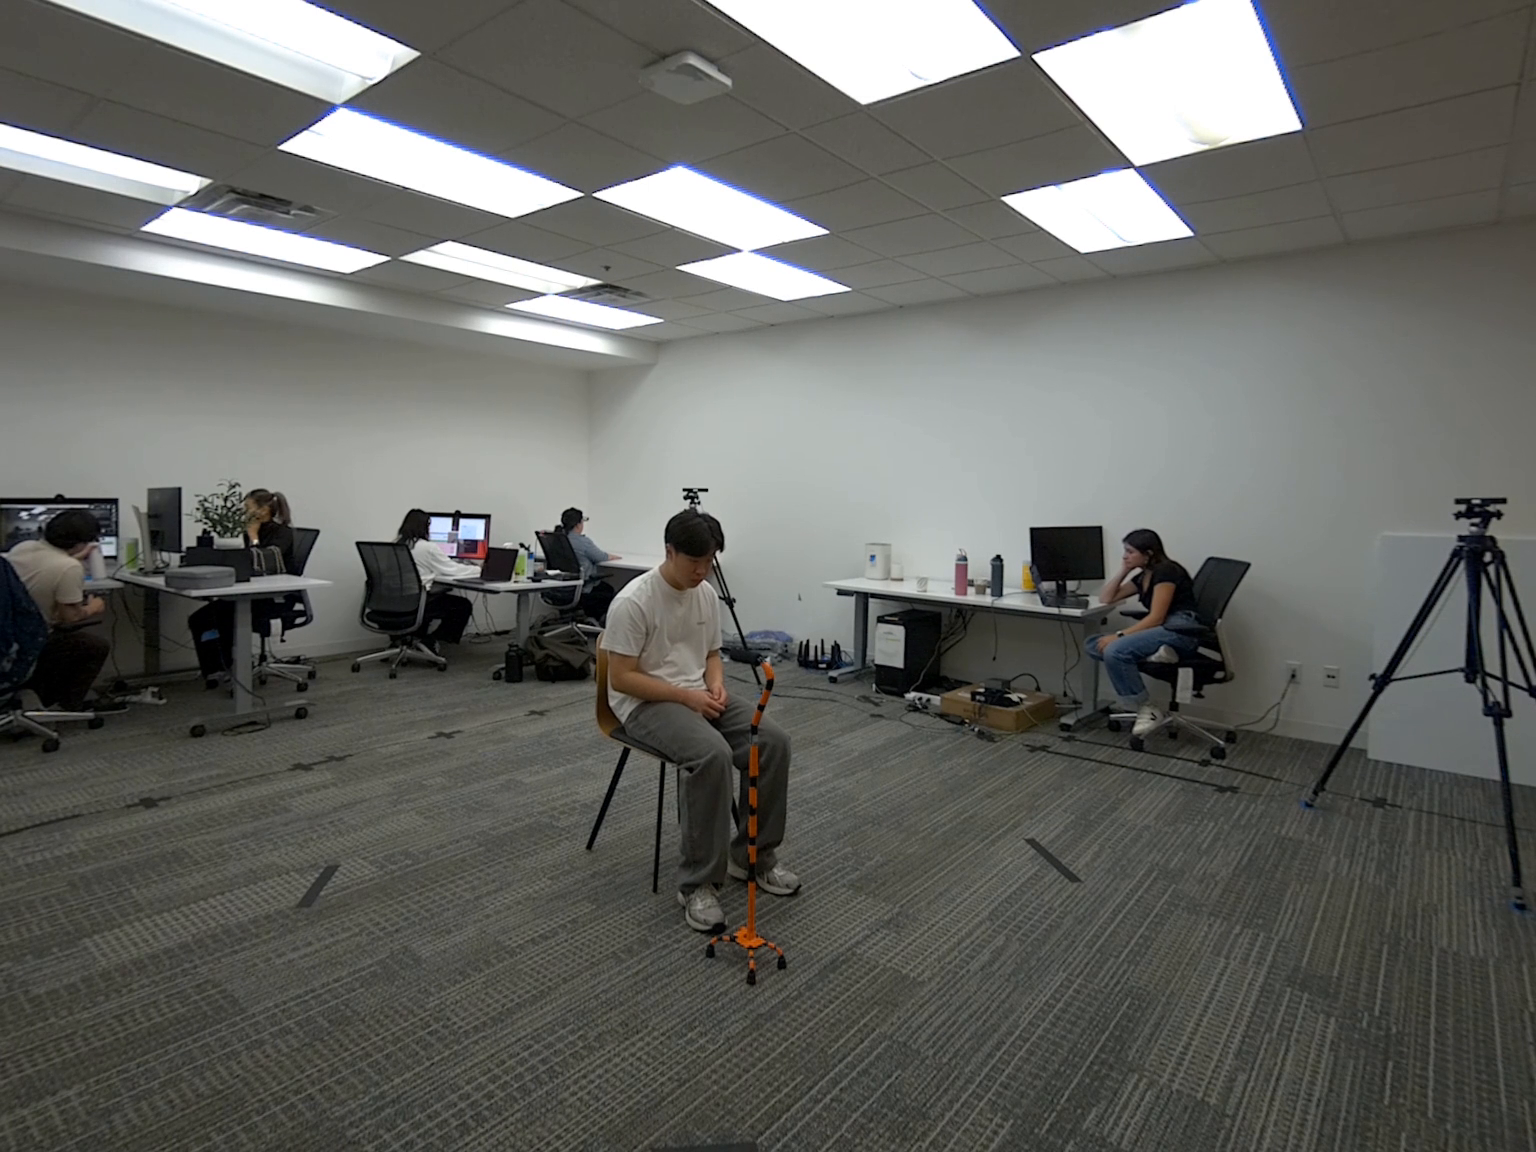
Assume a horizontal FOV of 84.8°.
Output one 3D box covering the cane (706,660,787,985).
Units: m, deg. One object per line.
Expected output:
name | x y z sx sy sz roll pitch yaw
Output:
cane | -0.056 0.674 2.478 0.147 0.905 0.213 -2 5 -45
